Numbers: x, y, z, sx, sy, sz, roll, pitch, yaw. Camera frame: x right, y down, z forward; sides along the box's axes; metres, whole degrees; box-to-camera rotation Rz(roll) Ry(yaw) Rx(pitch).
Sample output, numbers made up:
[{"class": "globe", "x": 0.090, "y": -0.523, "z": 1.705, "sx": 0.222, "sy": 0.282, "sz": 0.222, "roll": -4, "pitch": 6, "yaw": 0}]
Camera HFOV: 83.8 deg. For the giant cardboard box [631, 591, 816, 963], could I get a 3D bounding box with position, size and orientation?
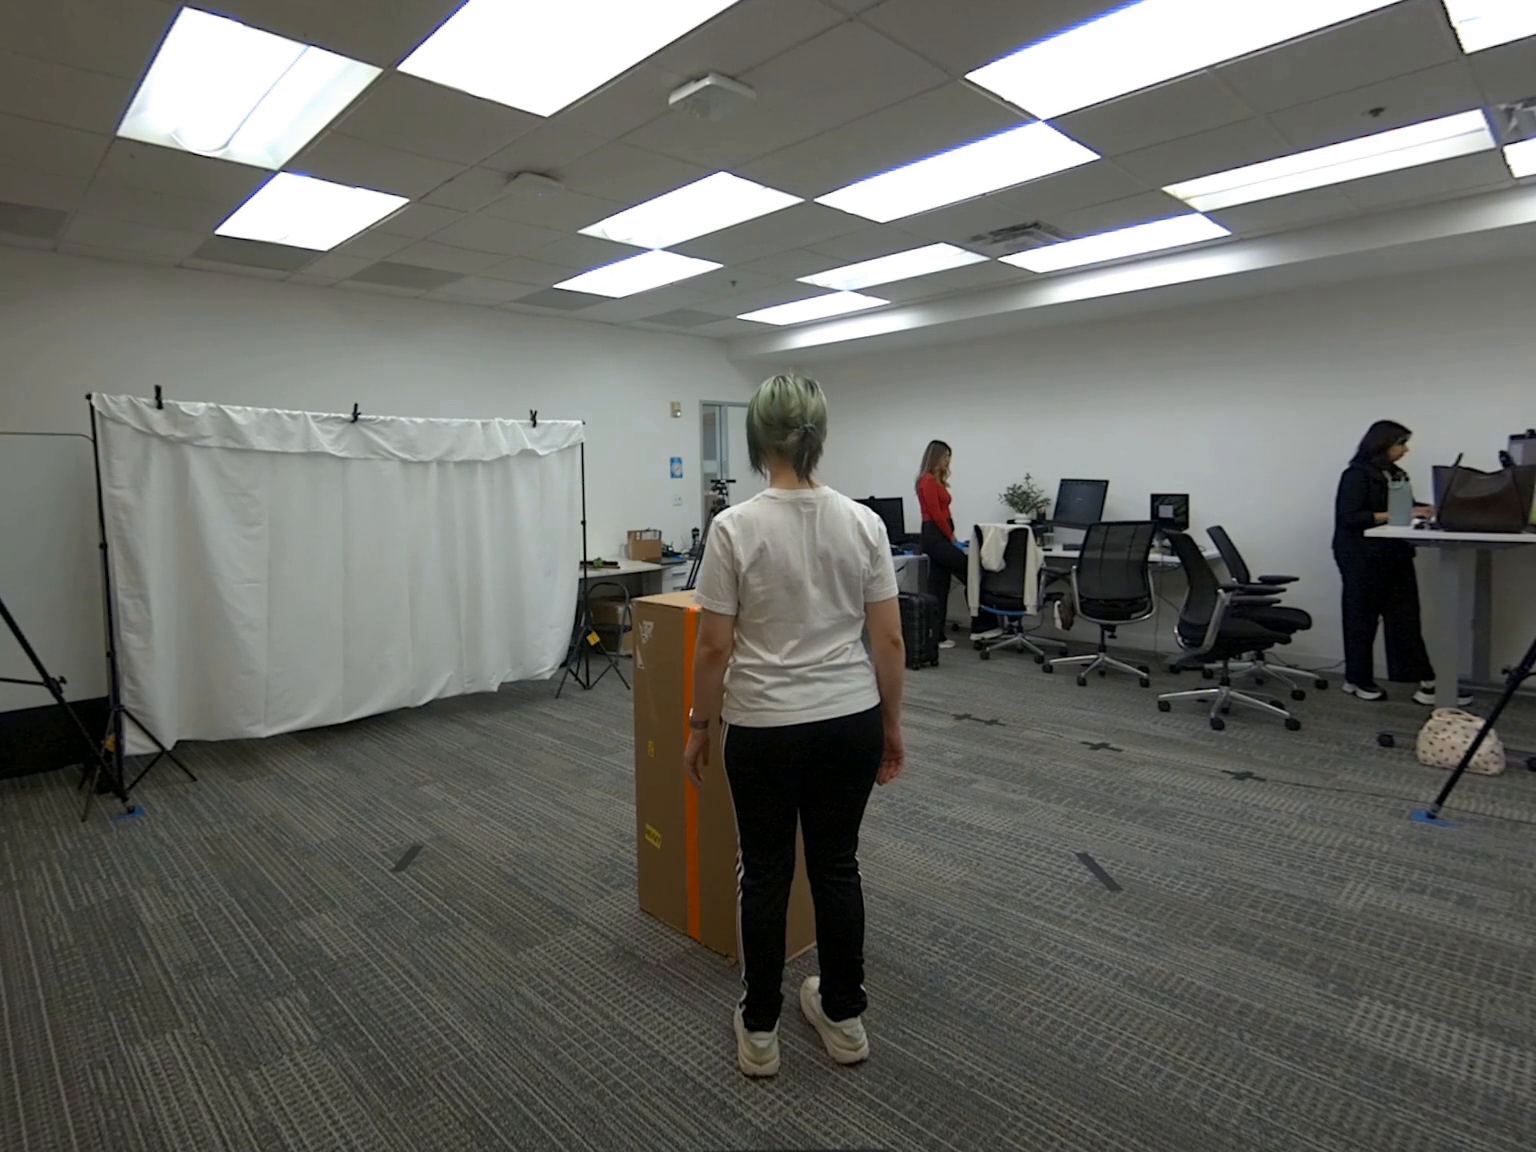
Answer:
[{"class": "giant cardboard box", "x": -0.082, "y": 0.586, "z": 2.716, "sx": 0.602, "sy": 1.024, "sz": 0.435, "roll": 3, "pitch": 5, "yaw": 42}]
